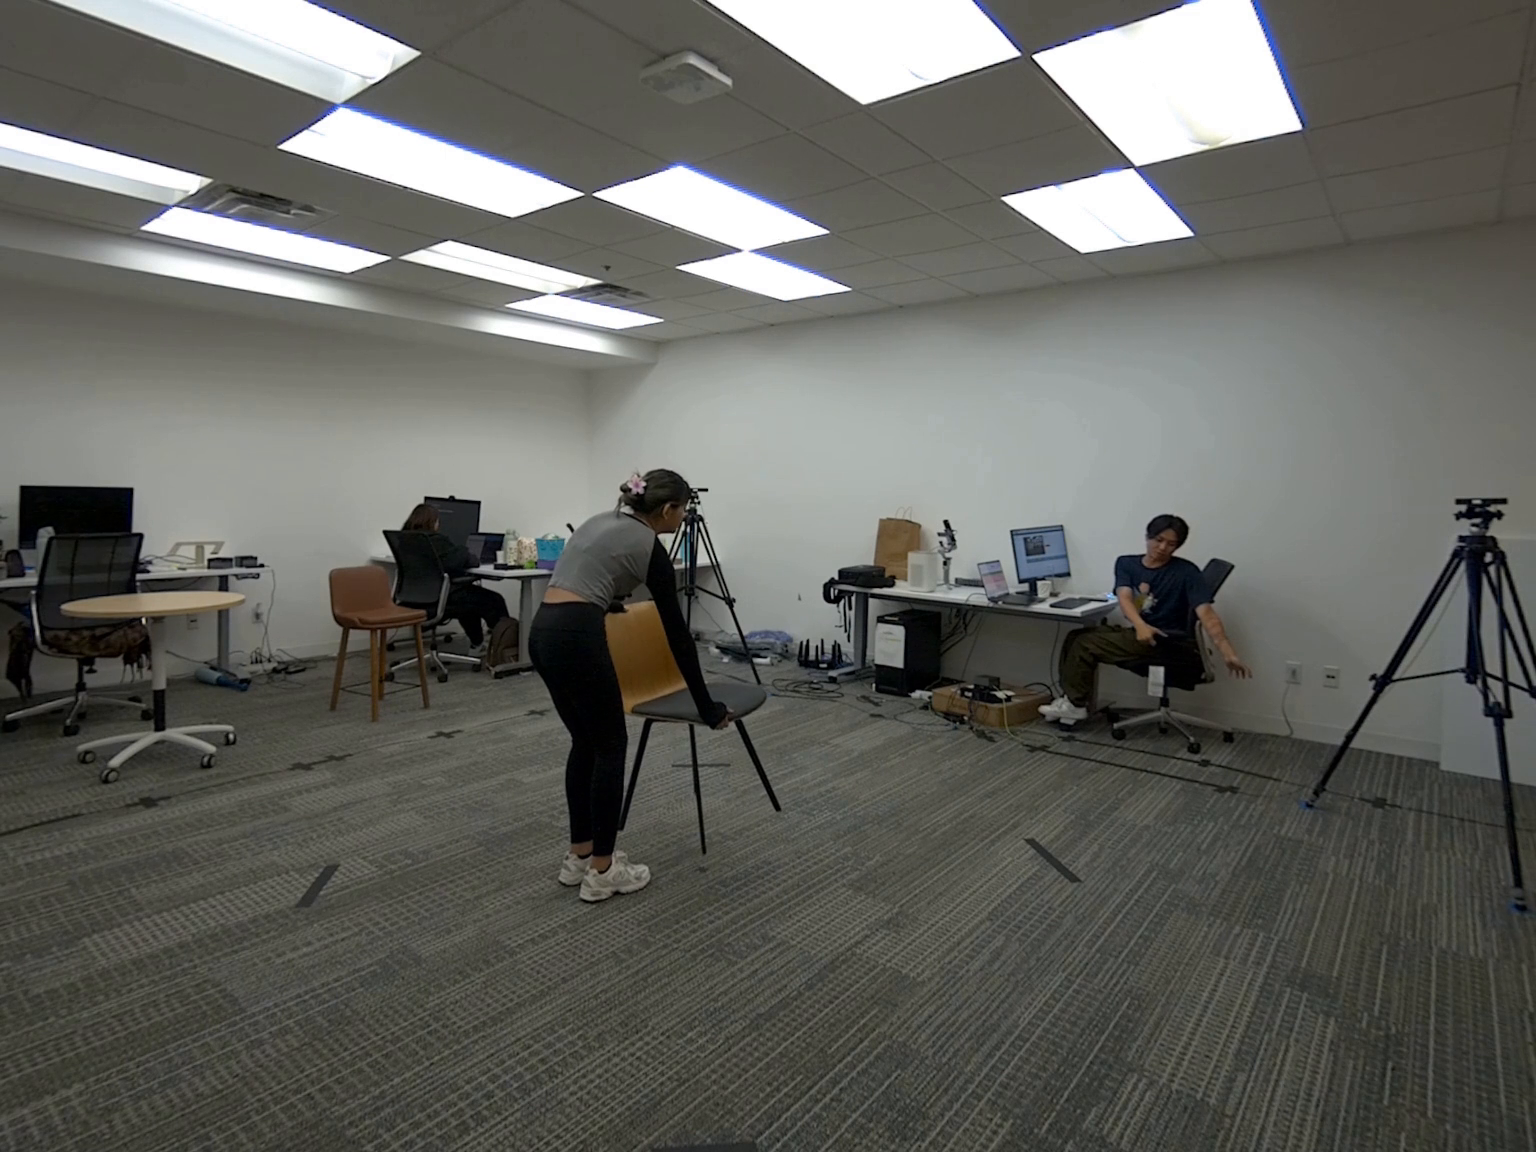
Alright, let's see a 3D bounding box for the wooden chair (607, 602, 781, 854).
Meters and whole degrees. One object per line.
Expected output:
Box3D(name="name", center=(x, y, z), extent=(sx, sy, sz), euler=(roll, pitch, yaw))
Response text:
Box3D(name="wooden chair", center=(-0.308, 0.528, 3.273), extent=(0.537, 0.878, 0.465), euler=(-9, 0, 40))
